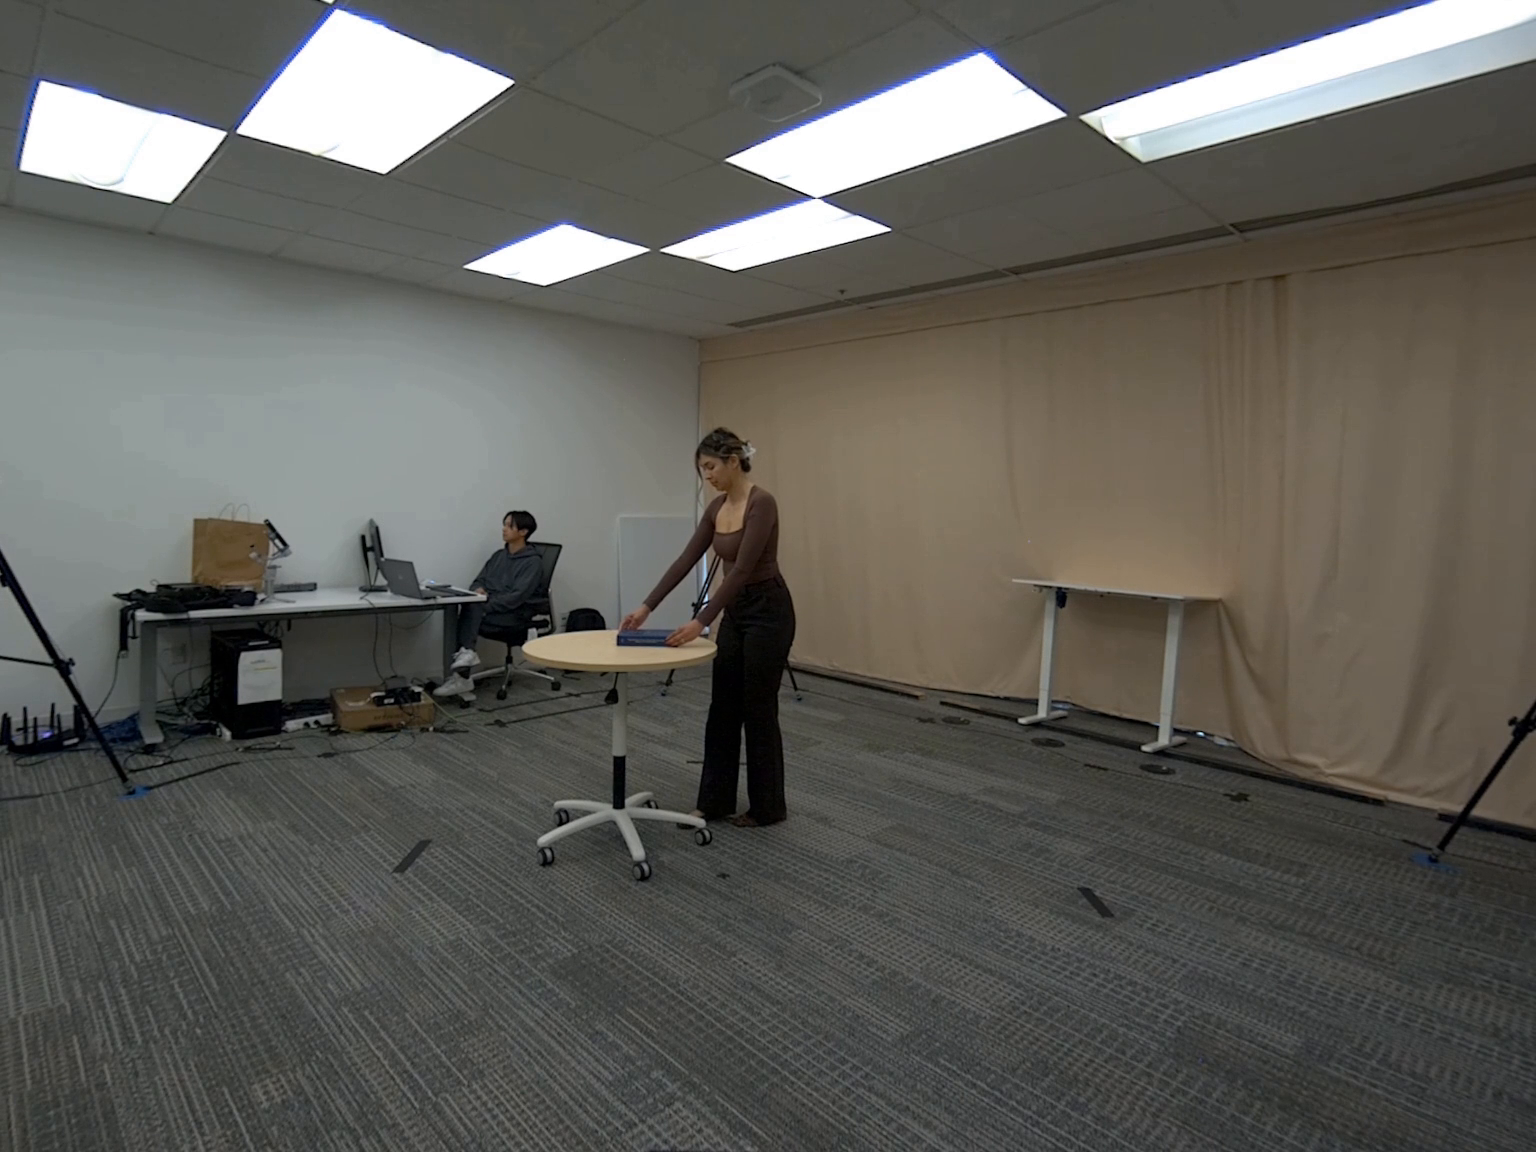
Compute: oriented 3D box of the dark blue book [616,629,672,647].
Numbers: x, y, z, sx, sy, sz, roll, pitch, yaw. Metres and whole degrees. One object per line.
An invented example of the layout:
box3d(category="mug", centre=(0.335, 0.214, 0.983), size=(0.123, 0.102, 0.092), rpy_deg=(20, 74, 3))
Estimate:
box3d(category="dark blue book", centre=(-0.484, 0.260, 3.411), size=(0.245, 0.045, 0.164), rpy_deg=(2, 5, 0))
